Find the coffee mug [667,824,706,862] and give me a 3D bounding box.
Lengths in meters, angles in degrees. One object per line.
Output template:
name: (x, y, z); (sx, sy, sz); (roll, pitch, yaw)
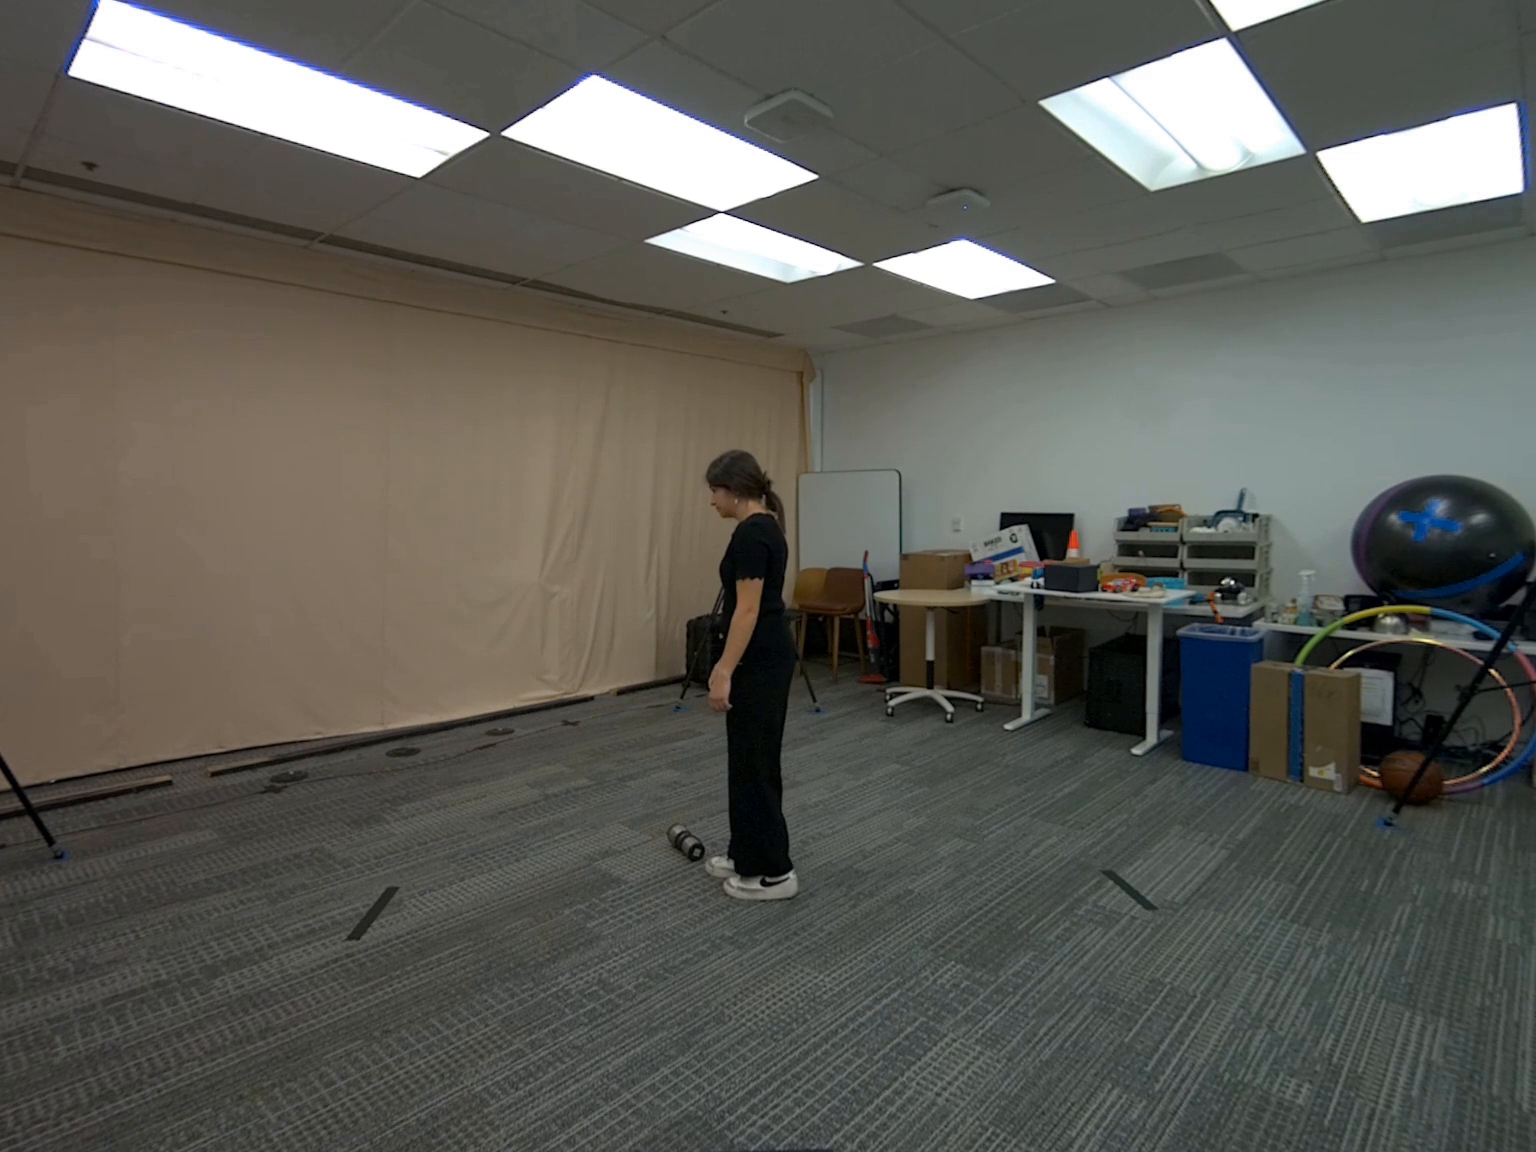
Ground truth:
coffee mug: (-0.311, 1.065, 3.392); (0.119, 0.087, 0.209); (-16, 13, -30)
